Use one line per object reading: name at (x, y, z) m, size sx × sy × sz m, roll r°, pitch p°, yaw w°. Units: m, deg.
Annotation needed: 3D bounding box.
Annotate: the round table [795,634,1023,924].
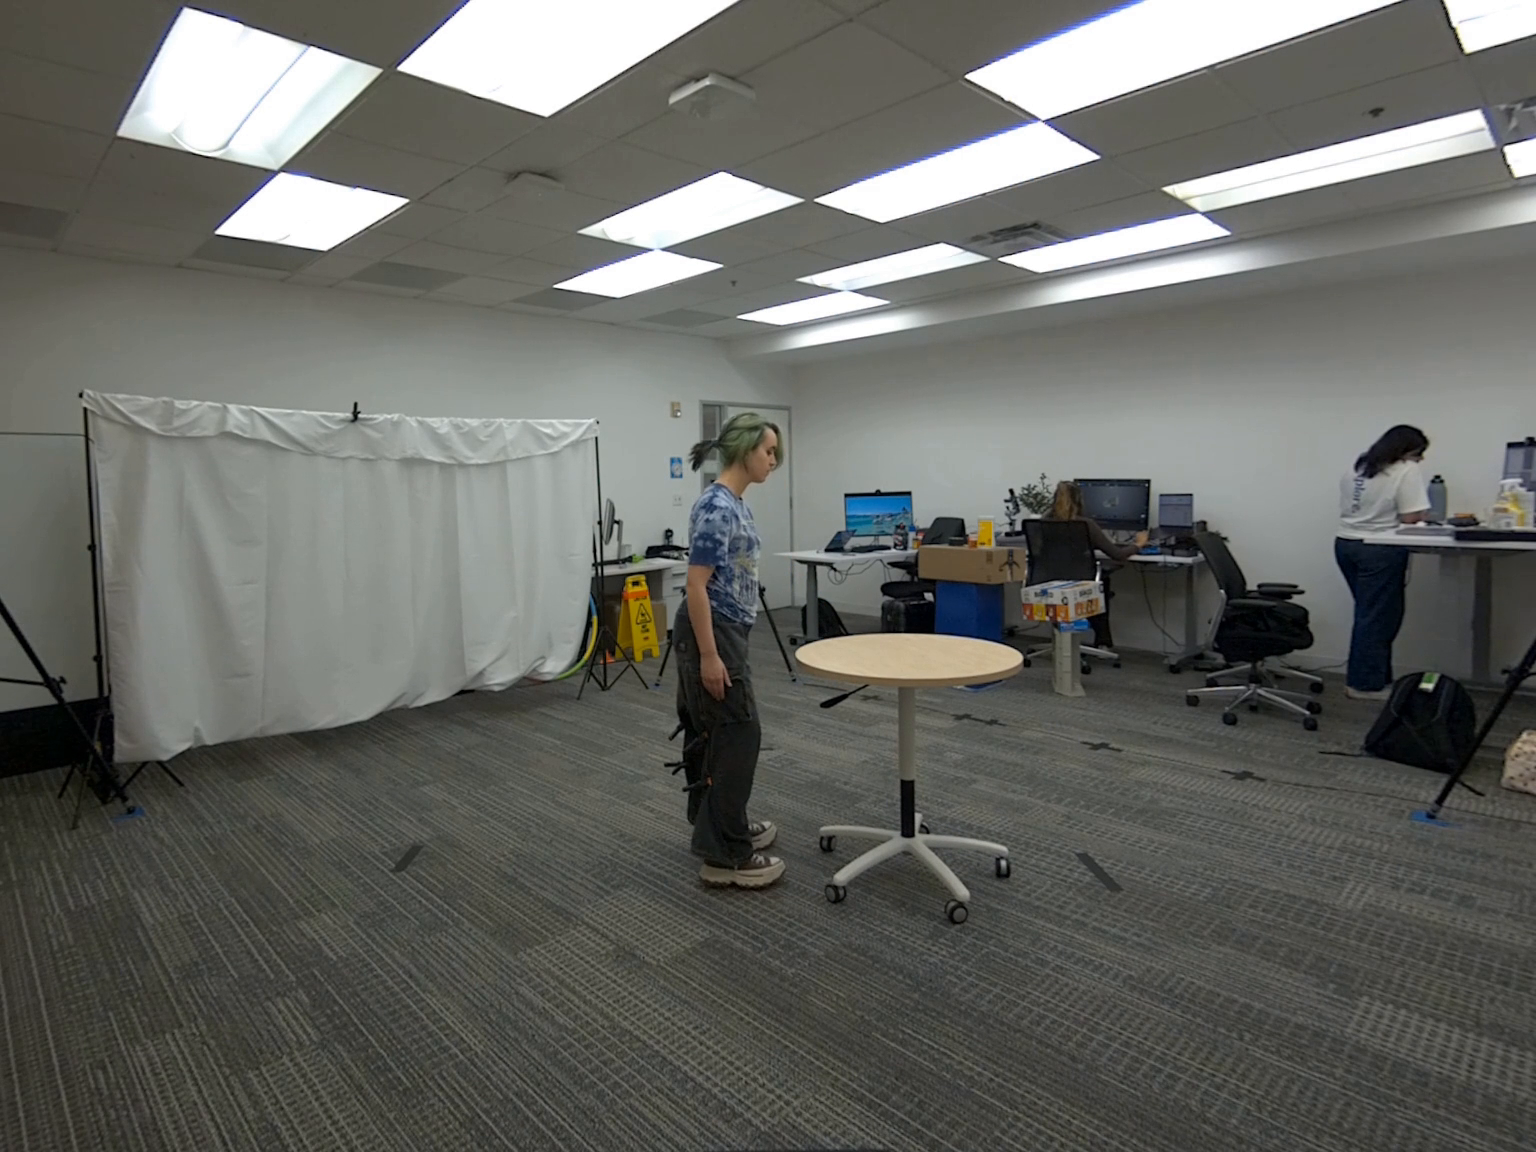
round table at (0.485, 0.661, 2.973) m, size 0.763 × 0.791 × 0.768 m, roll -1°, pitch 4°, yaw -2°
